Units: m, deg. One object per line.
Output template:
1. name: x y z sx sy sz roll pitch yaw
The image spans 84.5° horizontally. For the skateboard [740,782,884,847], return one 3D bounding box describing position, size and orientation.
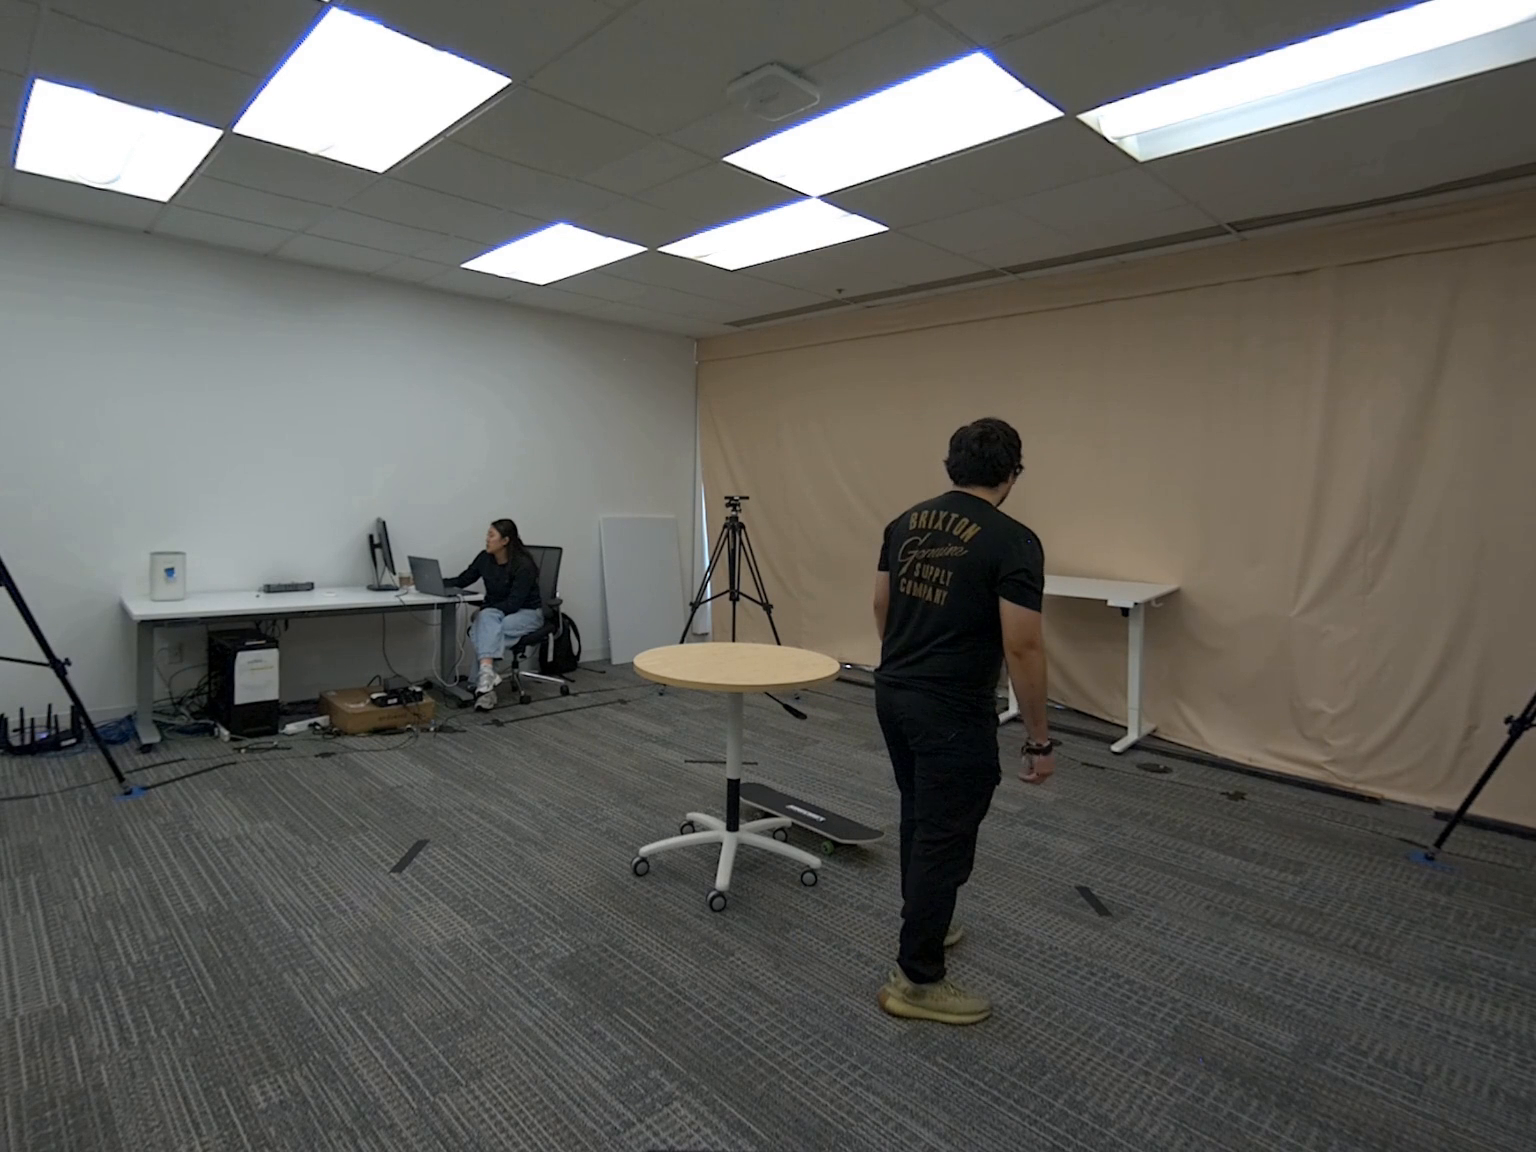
1. skateboard: 0.148 1.020 3.510 0.189 0.110 0.806 -2 6 -42
